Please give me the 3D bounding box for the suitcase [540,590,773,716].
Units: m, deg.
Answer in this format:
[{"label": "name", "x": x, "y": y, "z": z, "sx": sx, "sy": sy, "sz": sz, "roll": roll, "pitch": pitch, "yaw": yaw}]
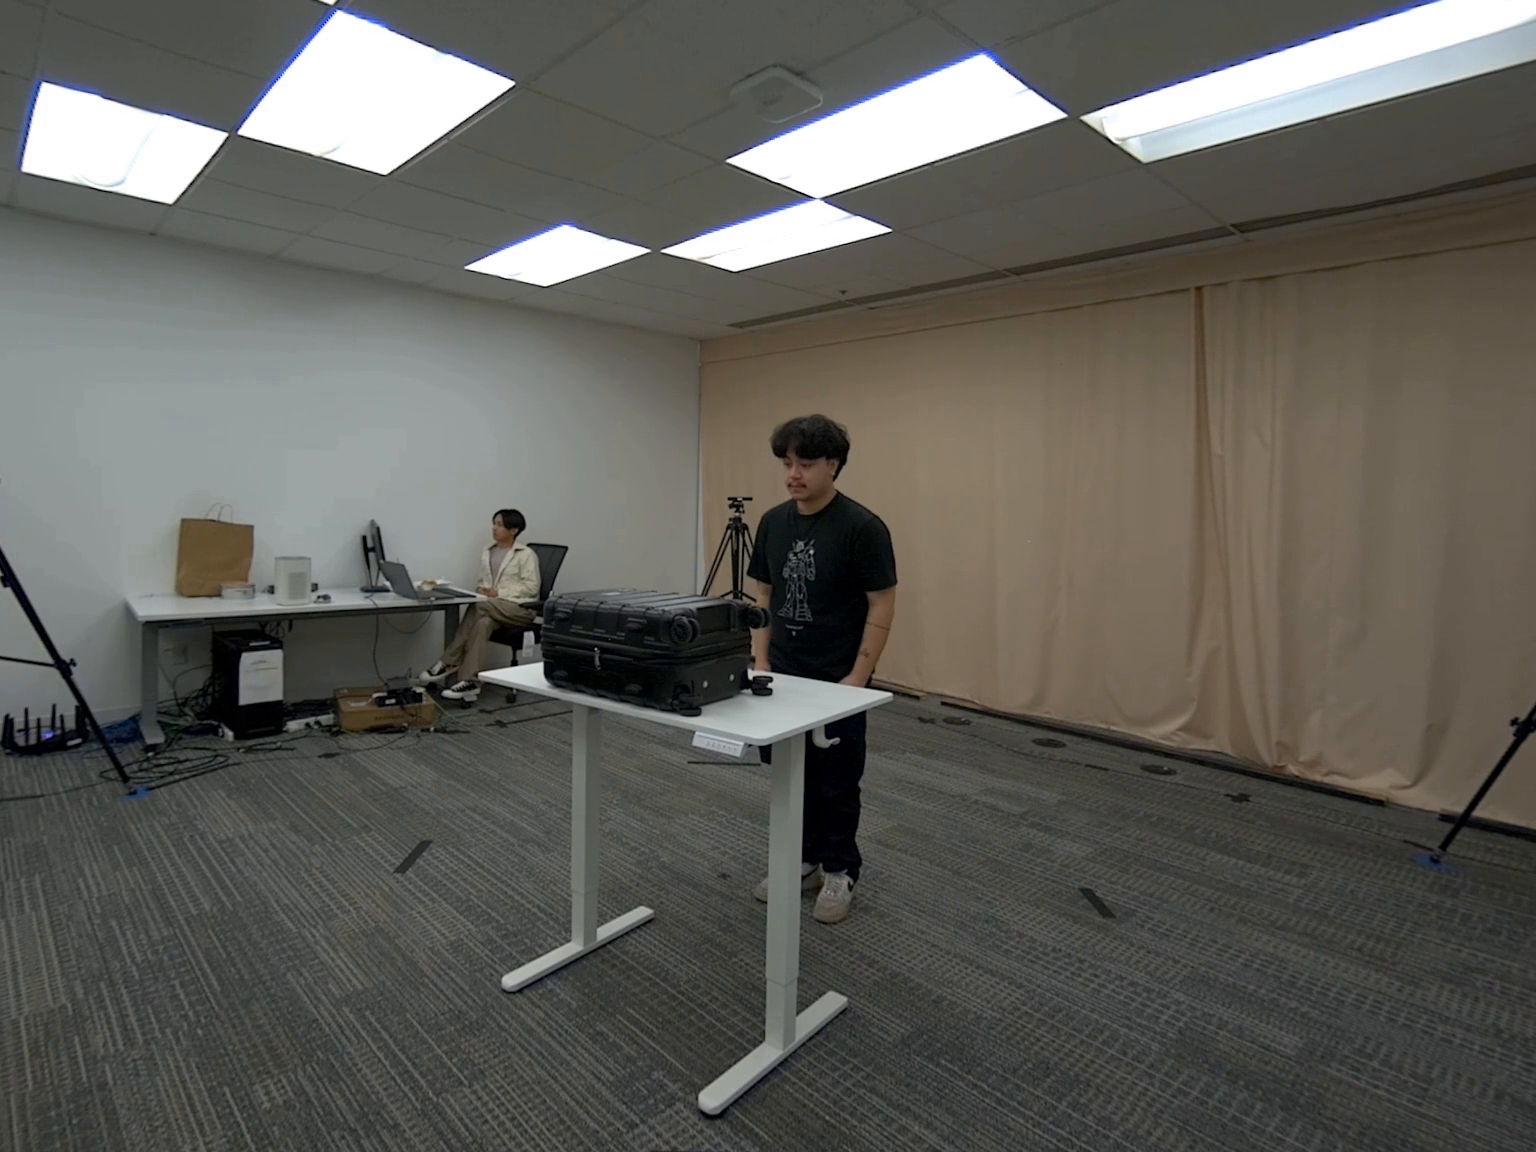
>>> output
[{"label": "suitcase", "x": -0.316, "y": 0.186, "z": 2.209, "sx": 0.563, "sy": 0.247, "sz": 0.367, "roll": 5, "pitch": 6, "yaw": 37}]
